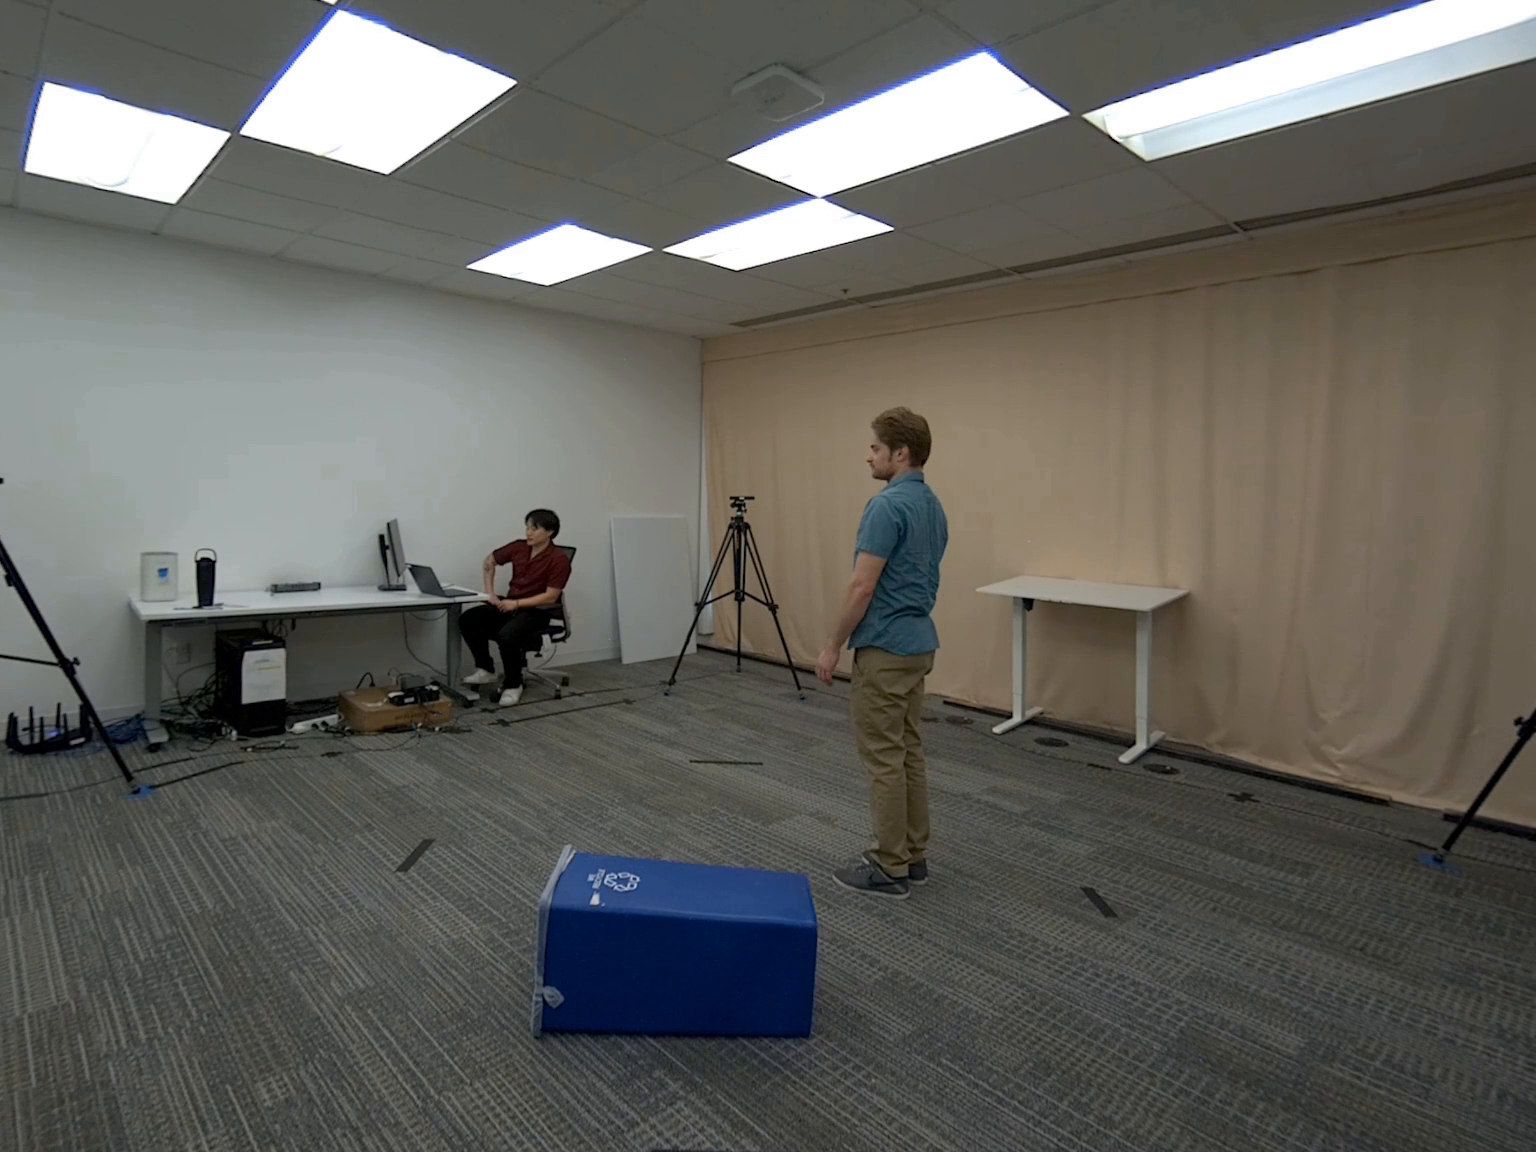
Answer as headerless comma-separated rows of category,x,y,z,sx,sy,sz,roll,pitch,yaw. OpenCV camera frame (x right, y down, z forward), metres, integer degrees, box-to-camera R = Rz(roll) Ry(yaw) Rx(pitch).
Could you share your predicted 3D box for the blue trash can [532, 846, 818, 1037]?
blue trash can,-0.250,1.011,2.307,0.713,0.377,0.375,4,4,-2
